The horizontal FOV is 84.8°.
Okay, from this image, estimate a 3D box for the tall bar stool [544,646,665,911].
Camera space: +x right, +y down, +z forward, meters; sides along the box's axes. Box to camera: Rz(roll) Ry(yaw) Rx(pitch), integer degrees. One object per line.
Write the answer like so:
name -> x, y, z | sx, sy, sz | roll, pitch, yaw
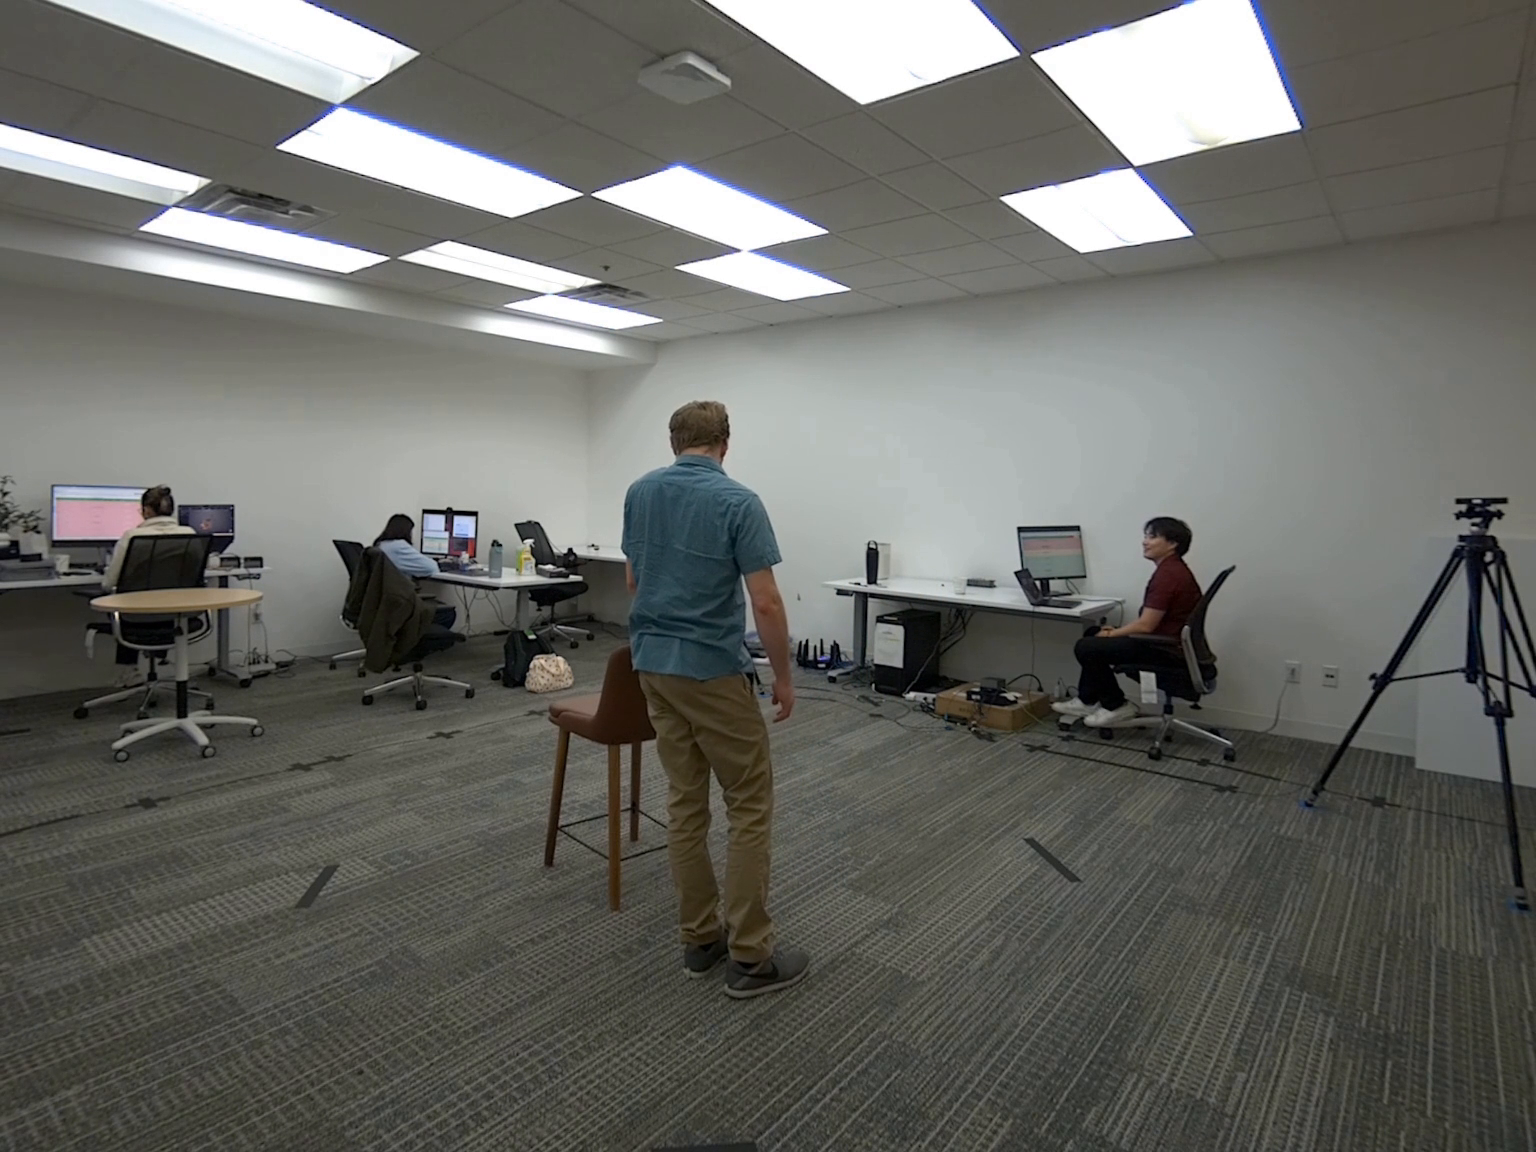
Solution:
tall bar stool -> -0.518, 0.633, 3.049 | 0.442, 0.886, 0.484 | -1, 6, -42
